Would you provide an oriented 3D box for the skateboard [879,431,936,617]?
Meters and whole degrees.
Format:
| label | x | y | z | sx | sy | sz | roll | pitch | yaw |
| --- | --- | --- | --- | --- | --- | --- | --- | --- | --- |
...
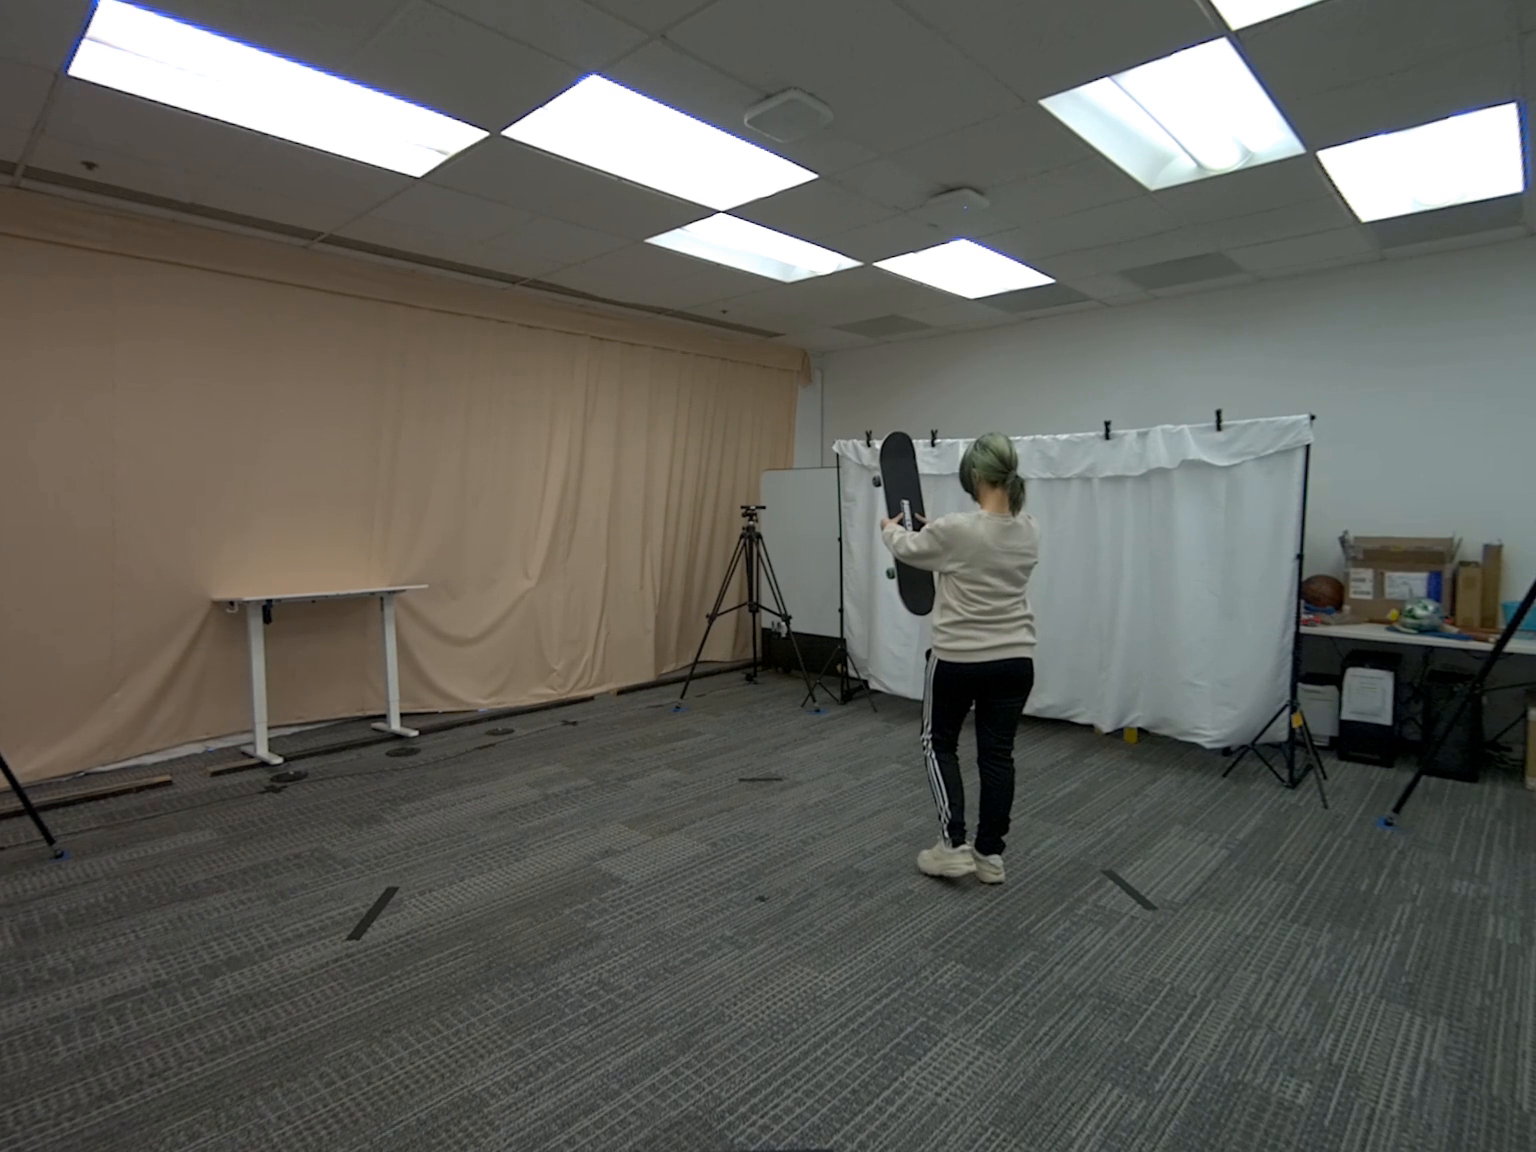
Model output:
| label | x | y | z | sx | sy | sz | roll | pitch | yaw |
| --- | --- | --- | --- | --- | --- | --- | --- | --- | --- |
| skateboard | 0.584 | -0.219 | 3.611 | 0.189 | 0.785 | 0.113 | -9 | 1 | -26 |
